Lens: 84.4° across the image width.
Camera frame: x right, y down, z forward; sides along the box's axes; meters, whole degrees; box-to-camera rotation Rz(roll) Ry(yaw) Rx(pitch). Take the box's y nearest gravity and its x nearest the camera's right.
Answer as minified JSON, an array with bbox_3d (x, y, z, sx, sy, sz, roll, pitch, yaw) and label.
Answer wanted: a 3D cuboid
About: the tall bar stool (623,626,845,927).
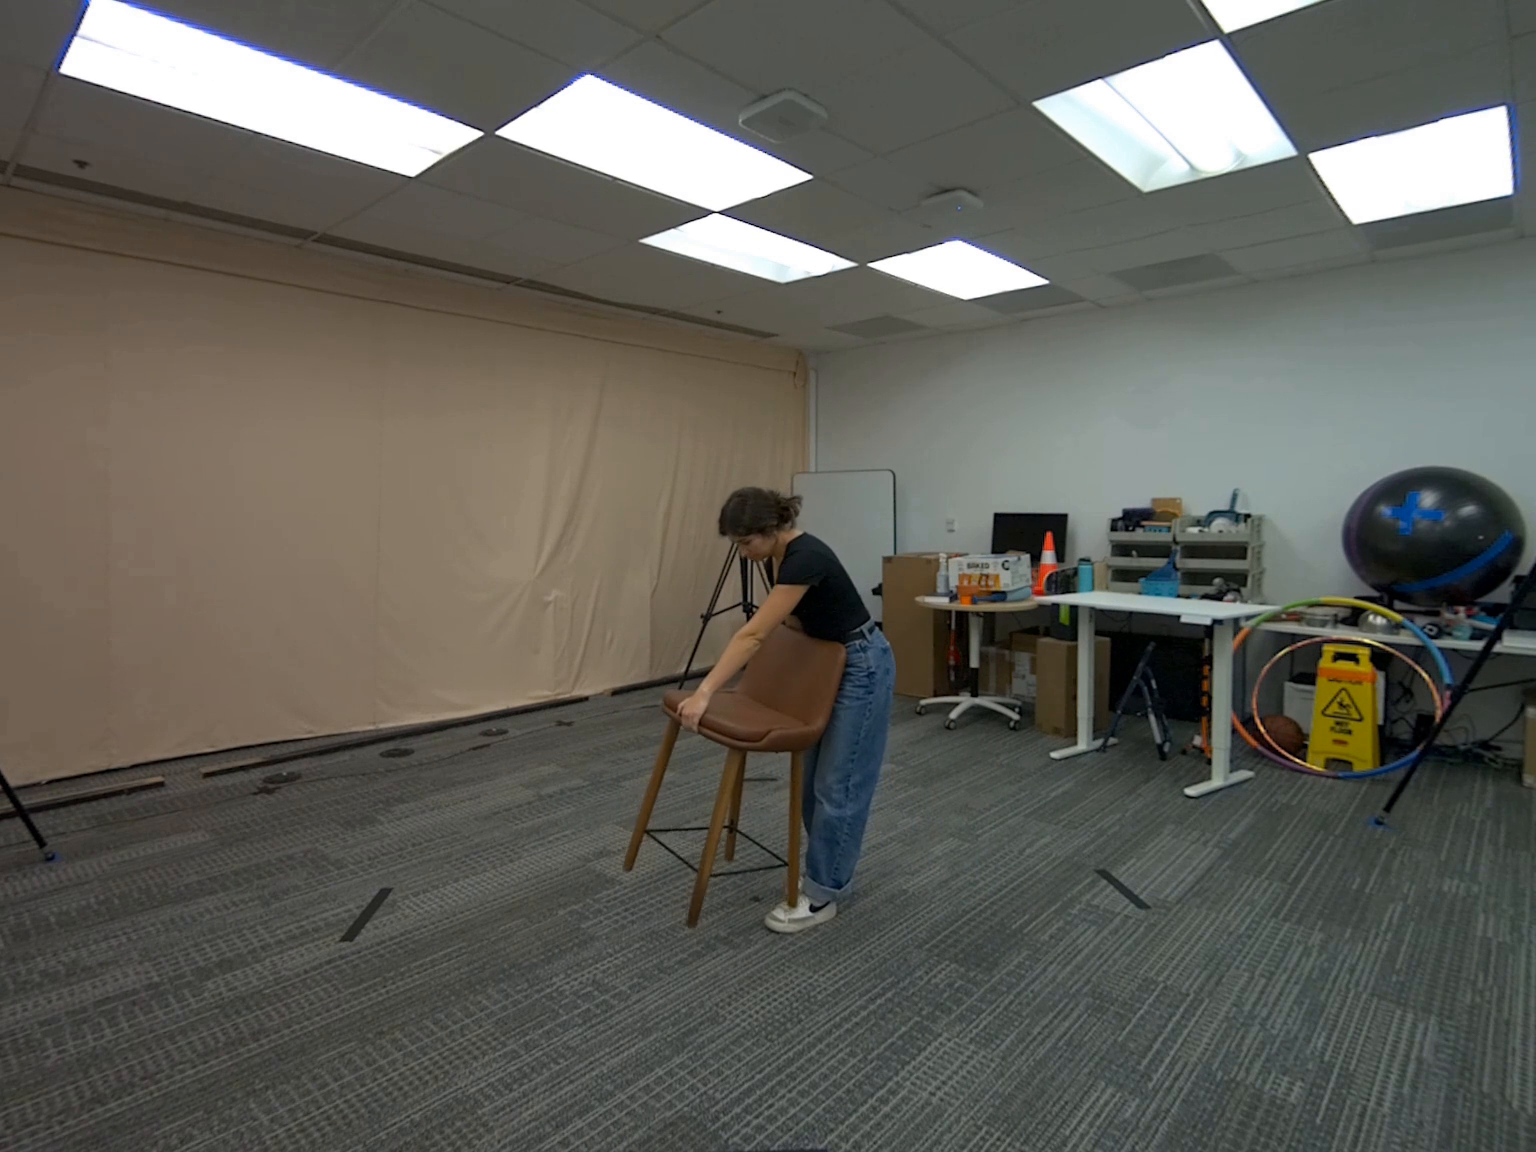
[{"bbox_3d":[-0.098,0.610,2.752,0.452,0.889,0.472,12,1,-38],"label":"tall bar stool"}]
